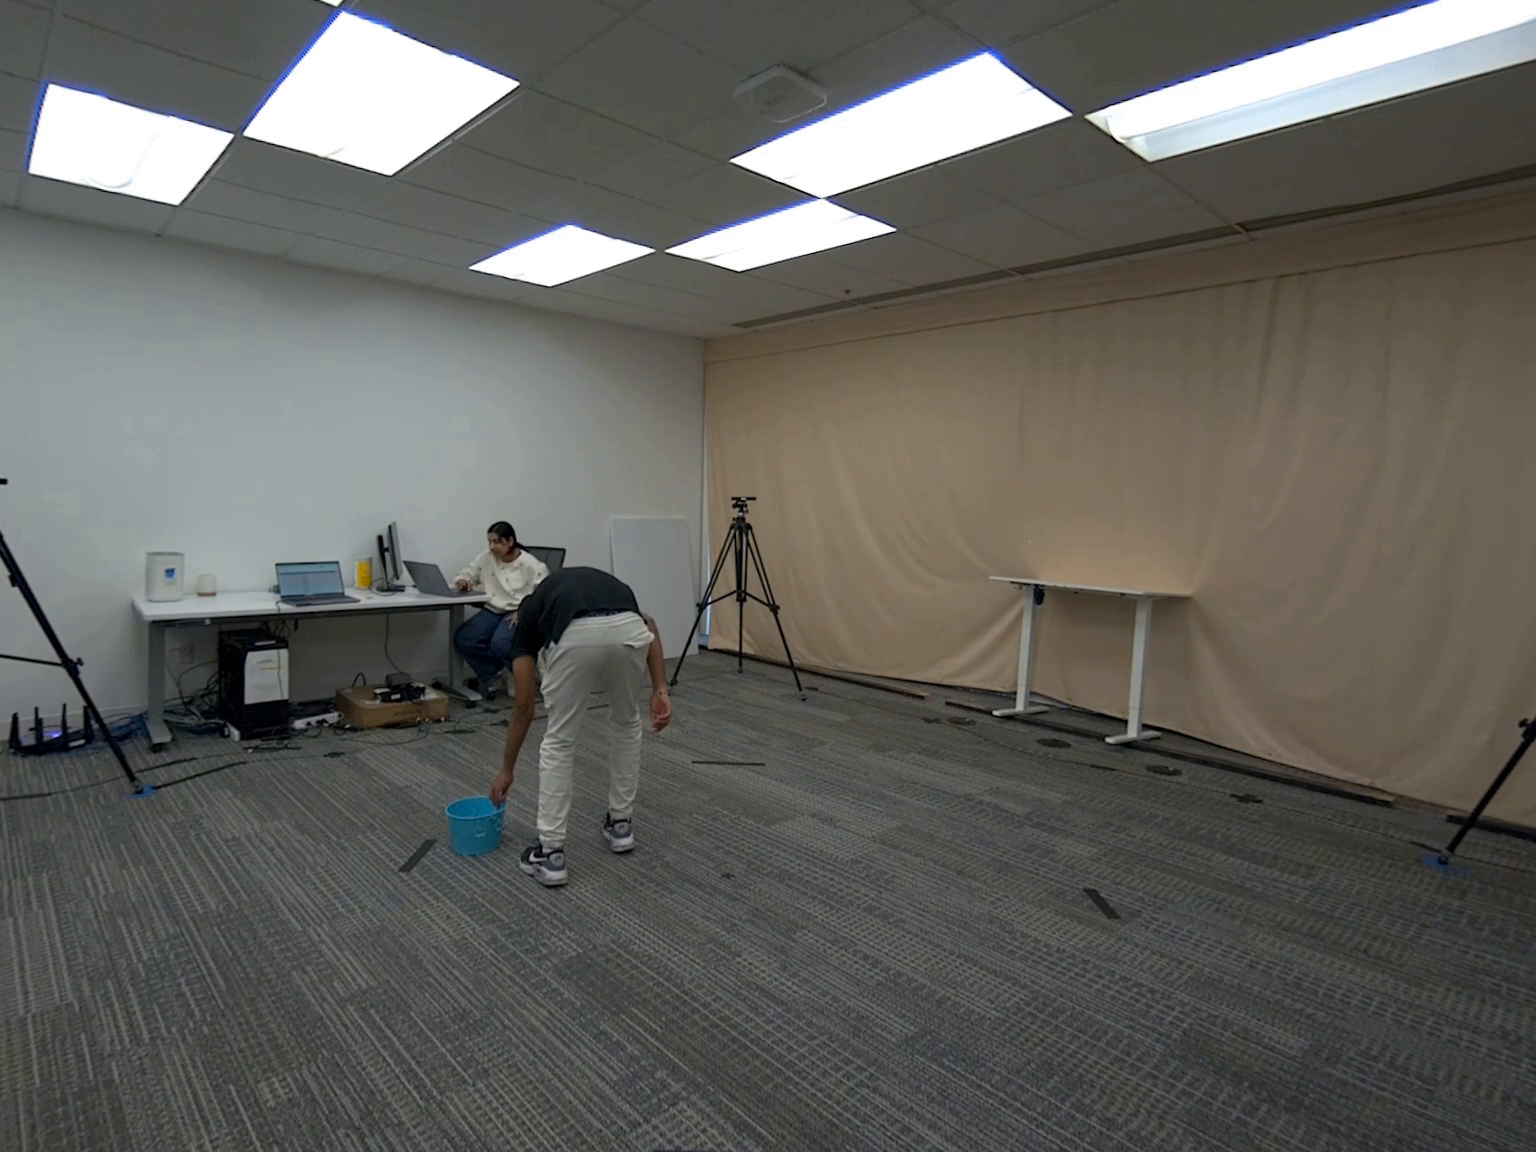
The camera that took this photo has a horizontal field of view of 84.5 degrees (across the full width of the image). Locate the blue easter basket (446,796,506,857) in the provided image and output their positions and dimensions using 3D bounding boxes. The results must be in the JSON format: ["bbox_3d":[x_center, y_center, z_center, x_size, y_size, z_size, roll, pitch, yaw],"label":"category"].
[{"bbox_3d":[-1.152,0.985,3.324,0.243,0.155,0.244,1,6,-1],"label":"blue easter basket"}]
